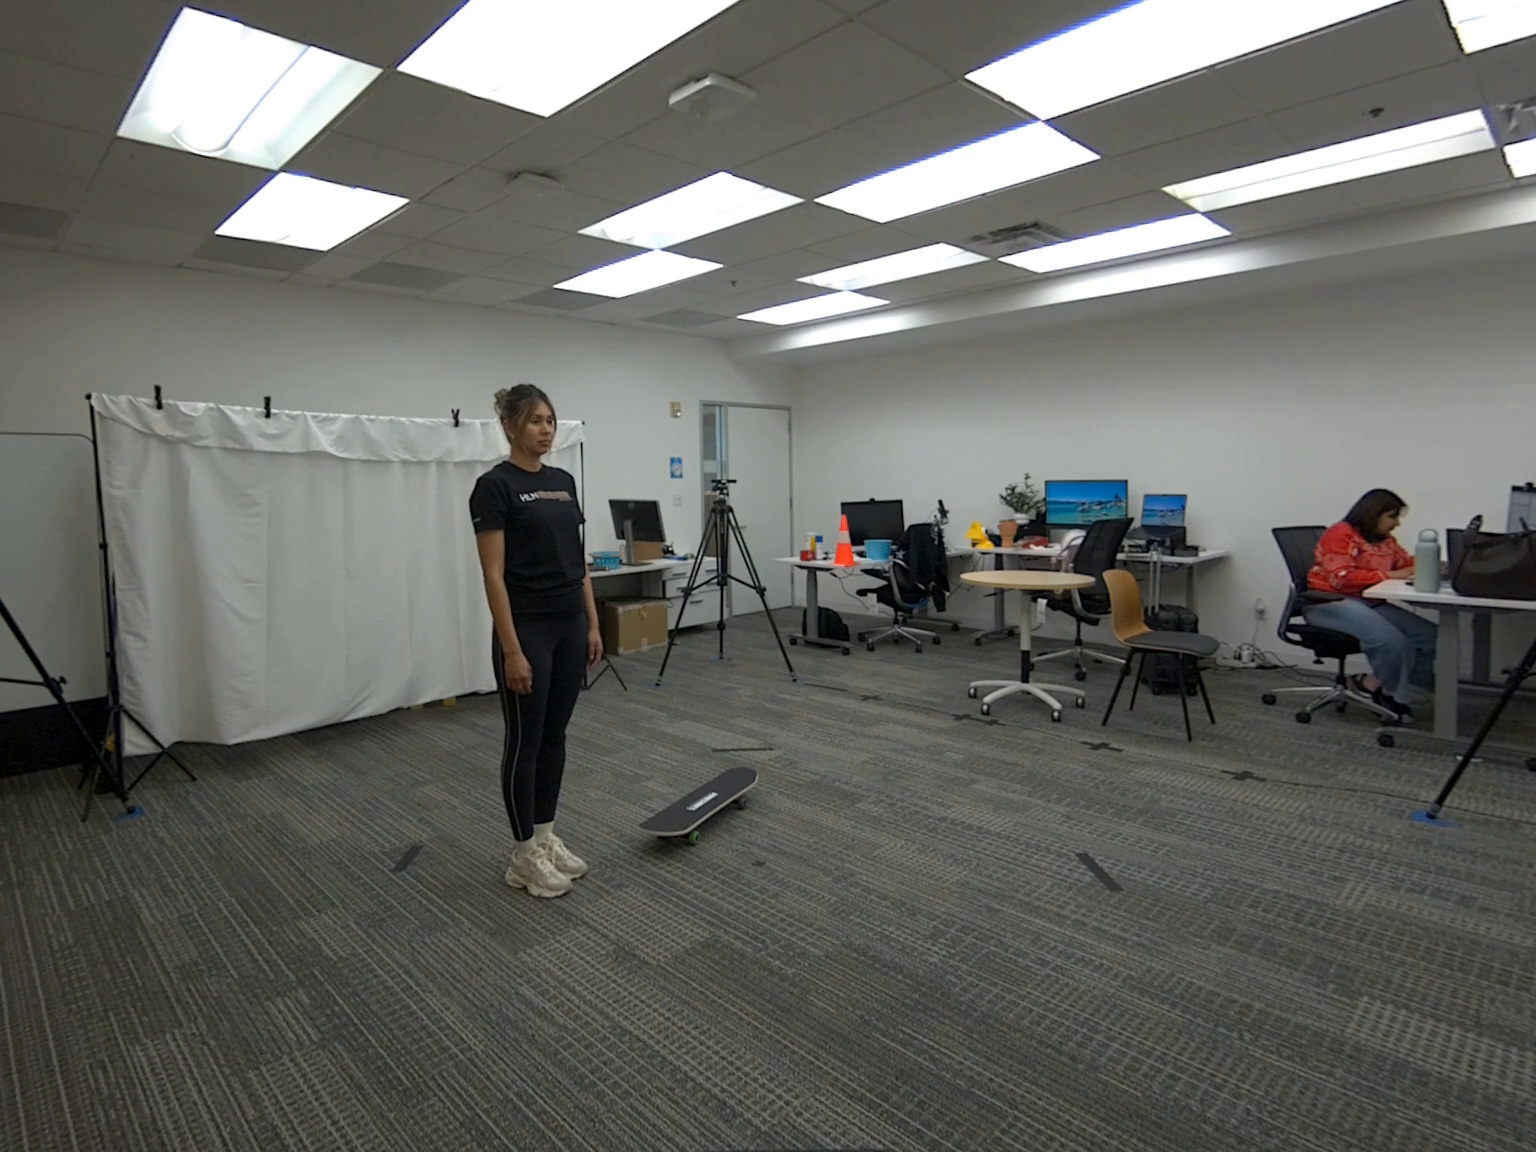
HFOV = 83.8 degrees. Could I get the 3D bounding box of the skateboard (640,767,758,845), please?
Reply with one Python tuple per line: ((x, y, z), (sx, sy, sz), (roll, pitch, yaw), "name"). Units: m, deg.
((-0.265, 0.951, 3.496), (0.198, 0.110, 0.770), (1, 7, 26), "skateboard")
